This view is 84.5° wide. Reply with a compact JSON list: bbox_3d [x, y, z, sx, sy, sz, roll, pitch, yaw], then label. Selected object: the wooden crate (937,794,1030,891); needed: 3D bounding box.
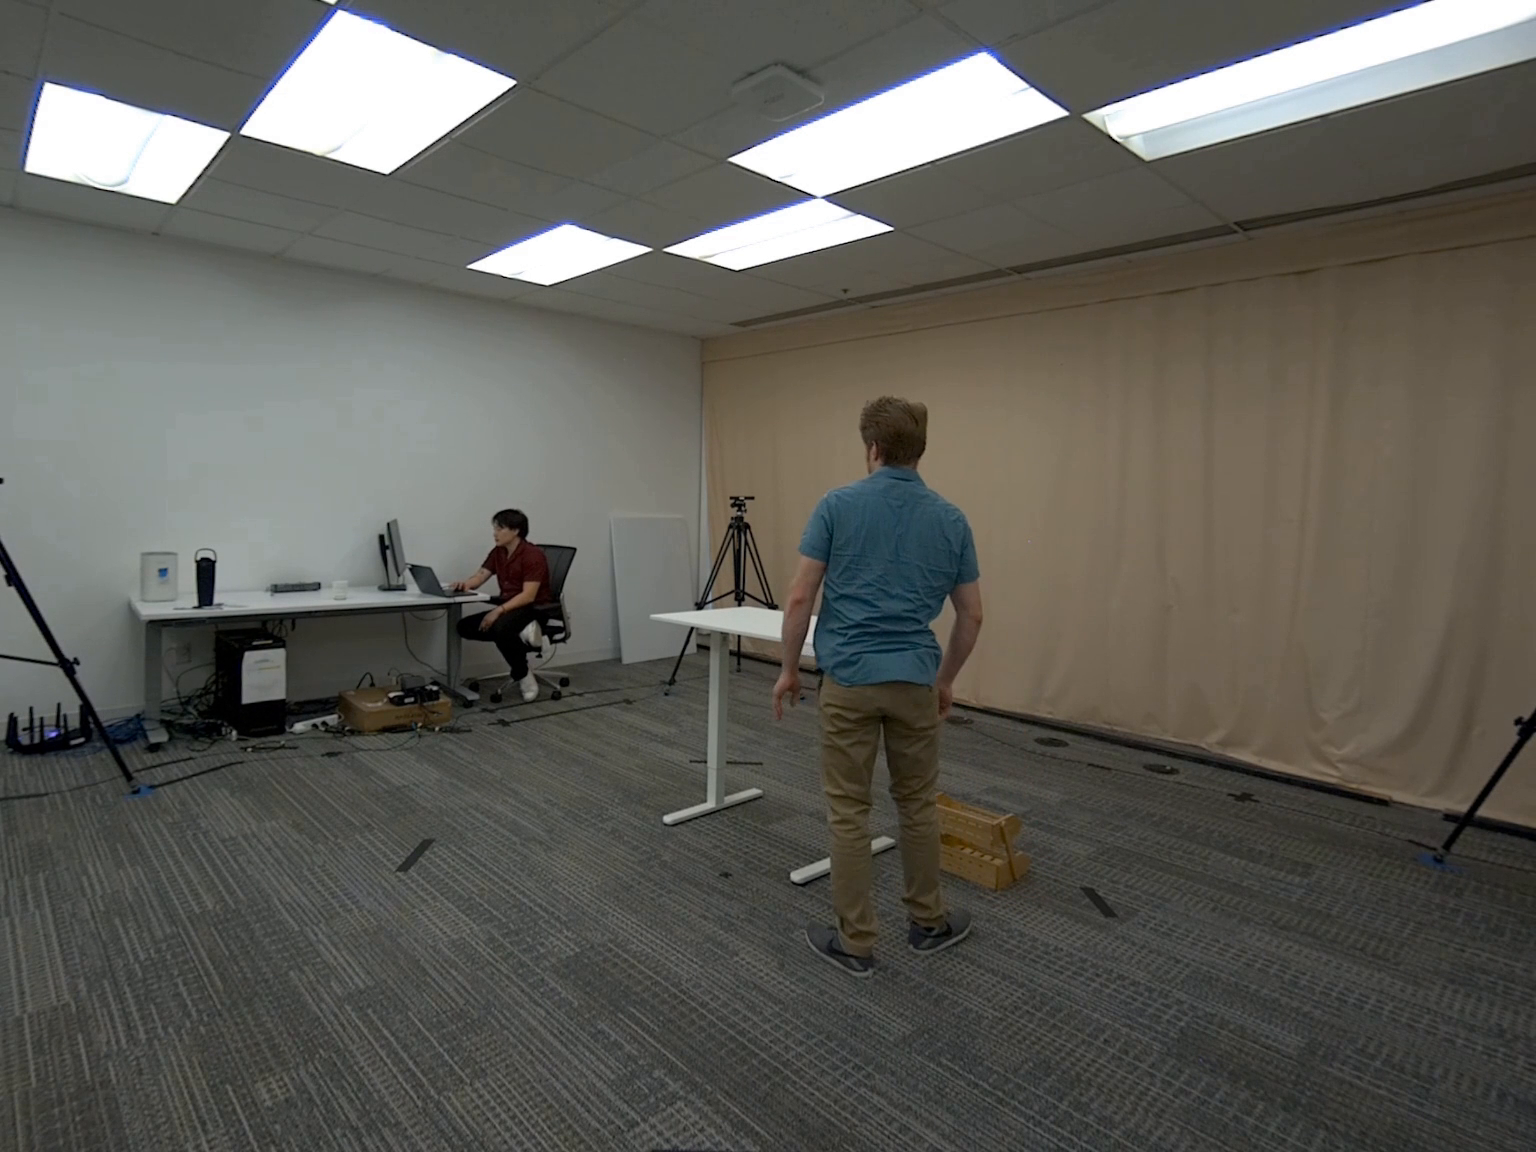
[{"bbox_3d":[0.788,0.984,3.207,0.295,0.272,0.333,-4,7,-45],"label":"wooden crate"}]
